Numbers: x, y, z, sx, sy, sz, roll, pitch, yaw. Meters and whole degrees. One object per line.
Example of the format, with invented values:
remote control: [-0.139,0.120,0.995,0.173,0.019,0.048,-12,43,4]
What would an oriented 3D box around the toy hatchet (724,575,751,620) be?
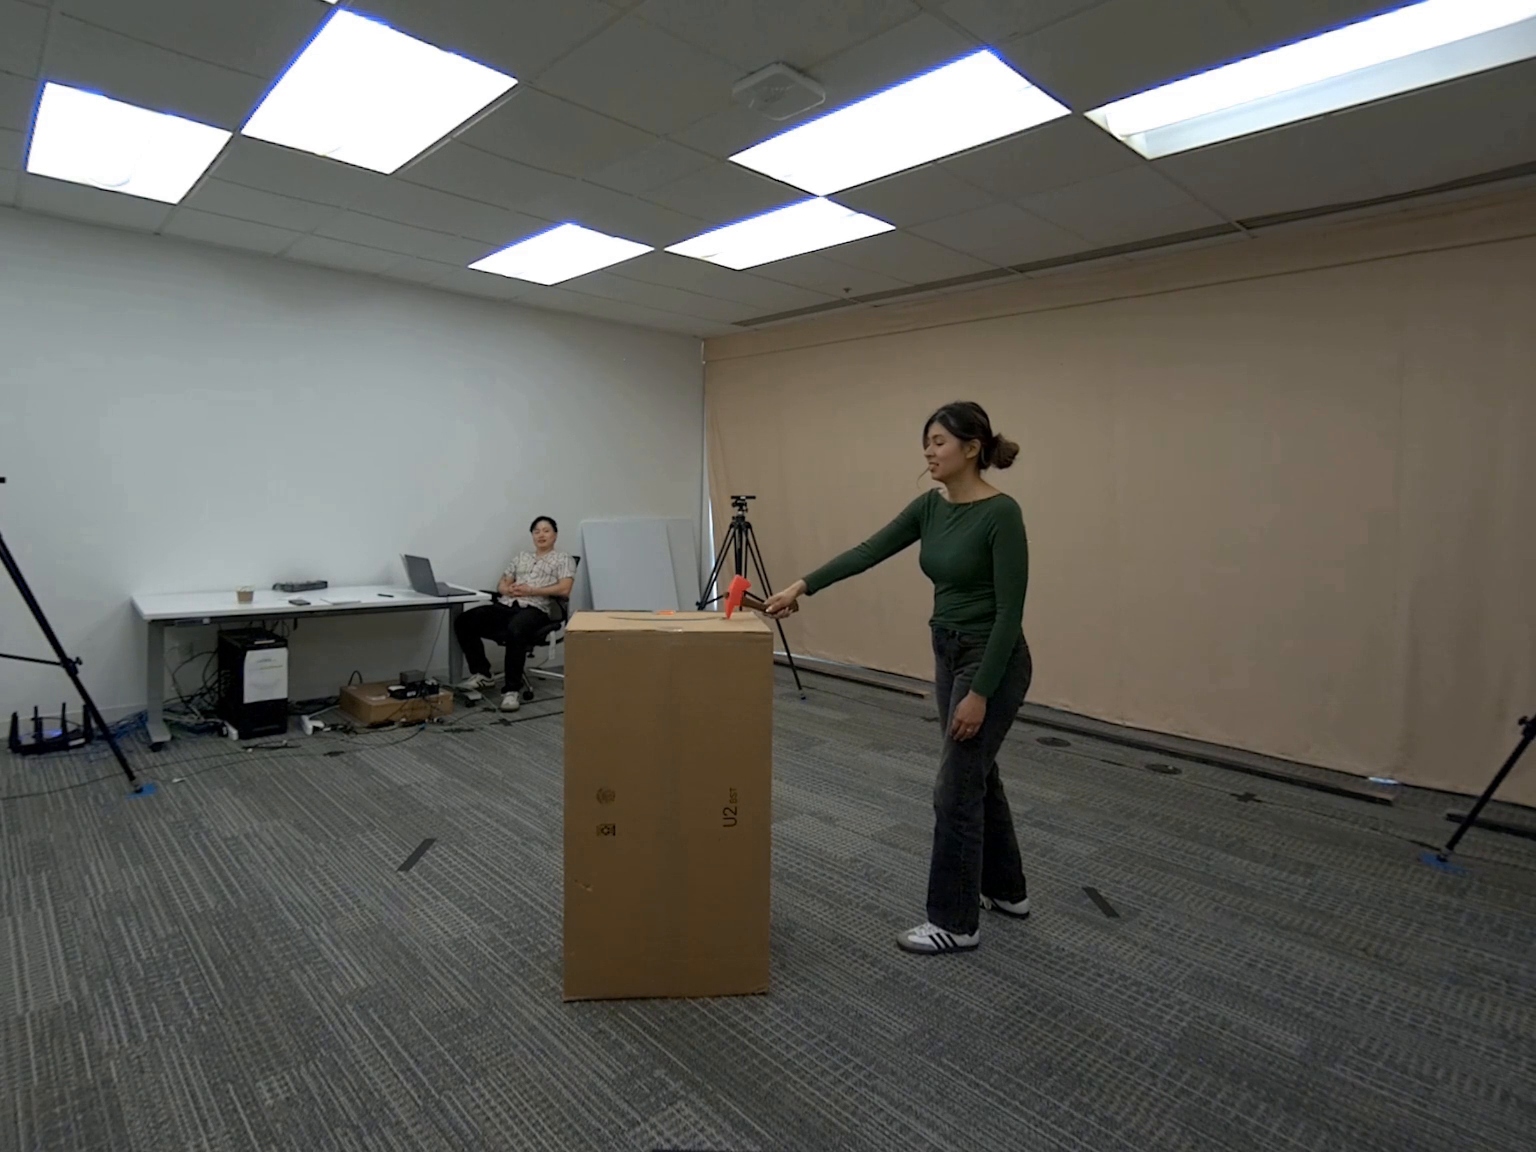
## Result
toy hatchet: [-0.006,0.042,2.559,0.265,0.131,0.030,-6,-1,-28]
